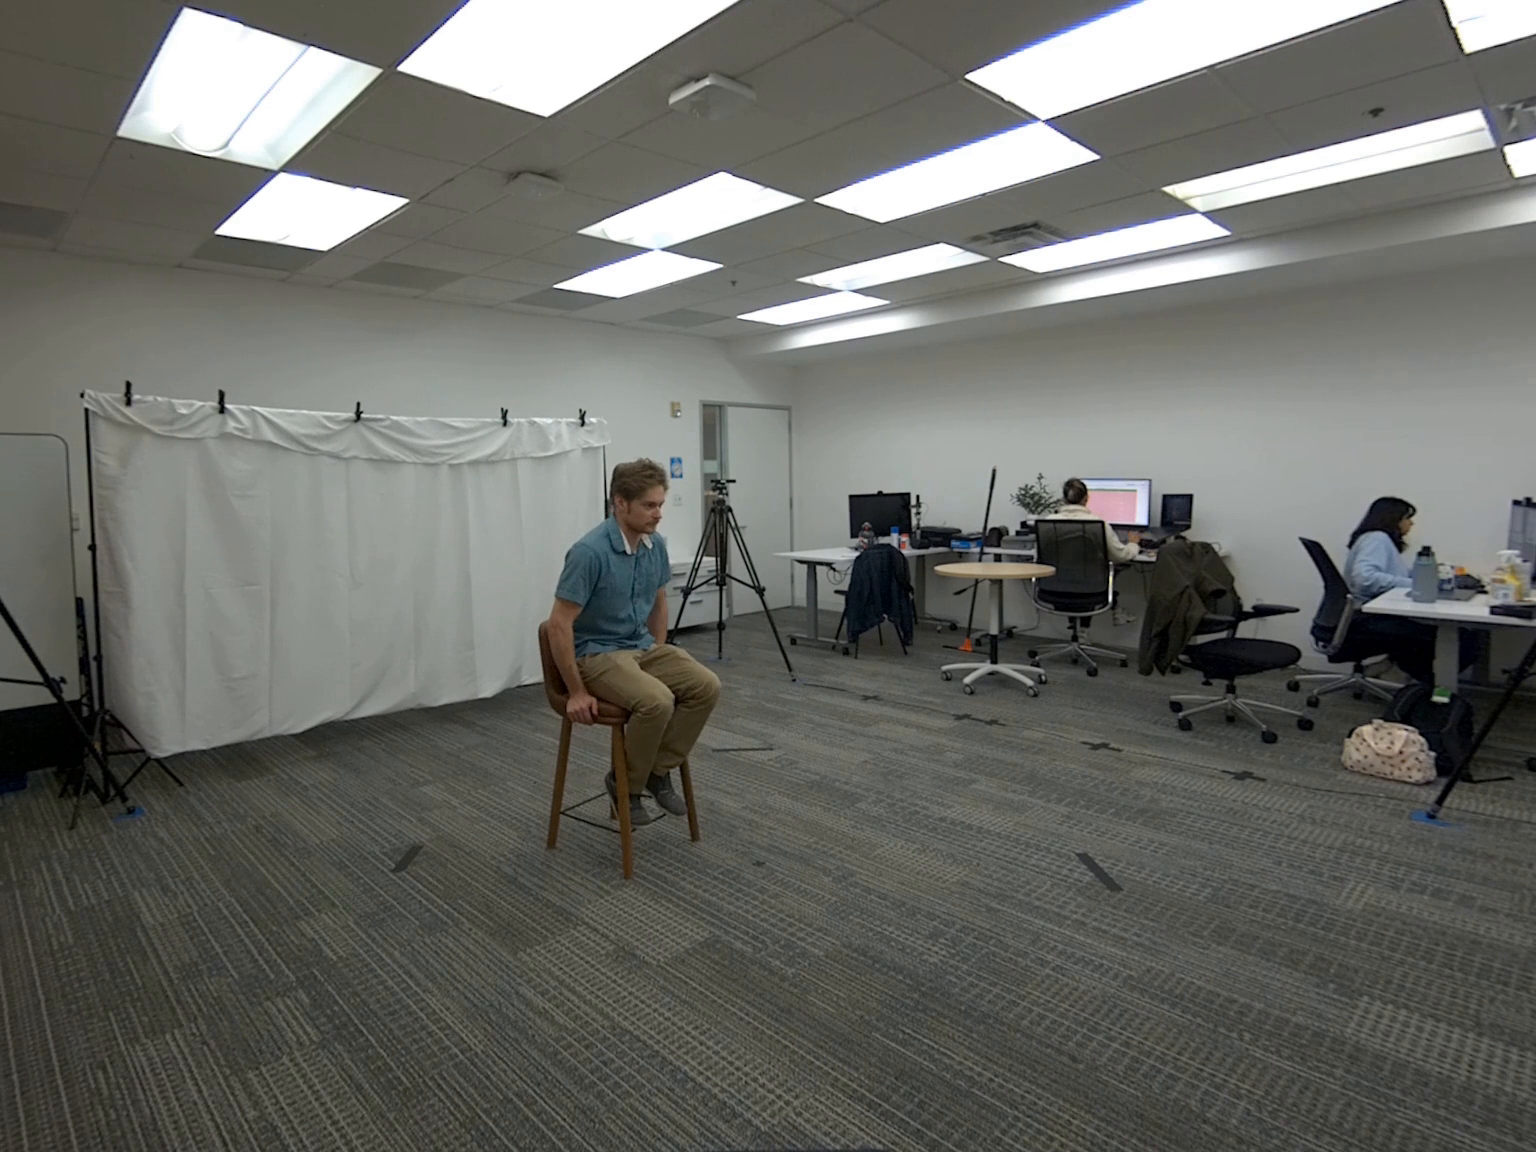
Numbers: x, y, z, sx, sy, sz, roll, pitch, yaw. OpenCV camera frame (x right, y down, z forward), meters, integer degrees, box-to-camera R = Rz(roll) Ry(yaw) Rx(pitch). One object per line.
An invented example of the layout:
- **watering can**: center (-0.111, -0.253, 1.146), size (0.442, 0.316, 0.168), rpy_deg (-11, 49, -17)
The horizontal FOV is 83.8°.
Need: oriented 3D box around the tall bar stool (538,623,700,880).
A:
- **tall bar stool**: center (-0.575, 0.603, 3.283), size (0.480, 0.889, 0.445), rpy_deg (-2, 2, 36)
